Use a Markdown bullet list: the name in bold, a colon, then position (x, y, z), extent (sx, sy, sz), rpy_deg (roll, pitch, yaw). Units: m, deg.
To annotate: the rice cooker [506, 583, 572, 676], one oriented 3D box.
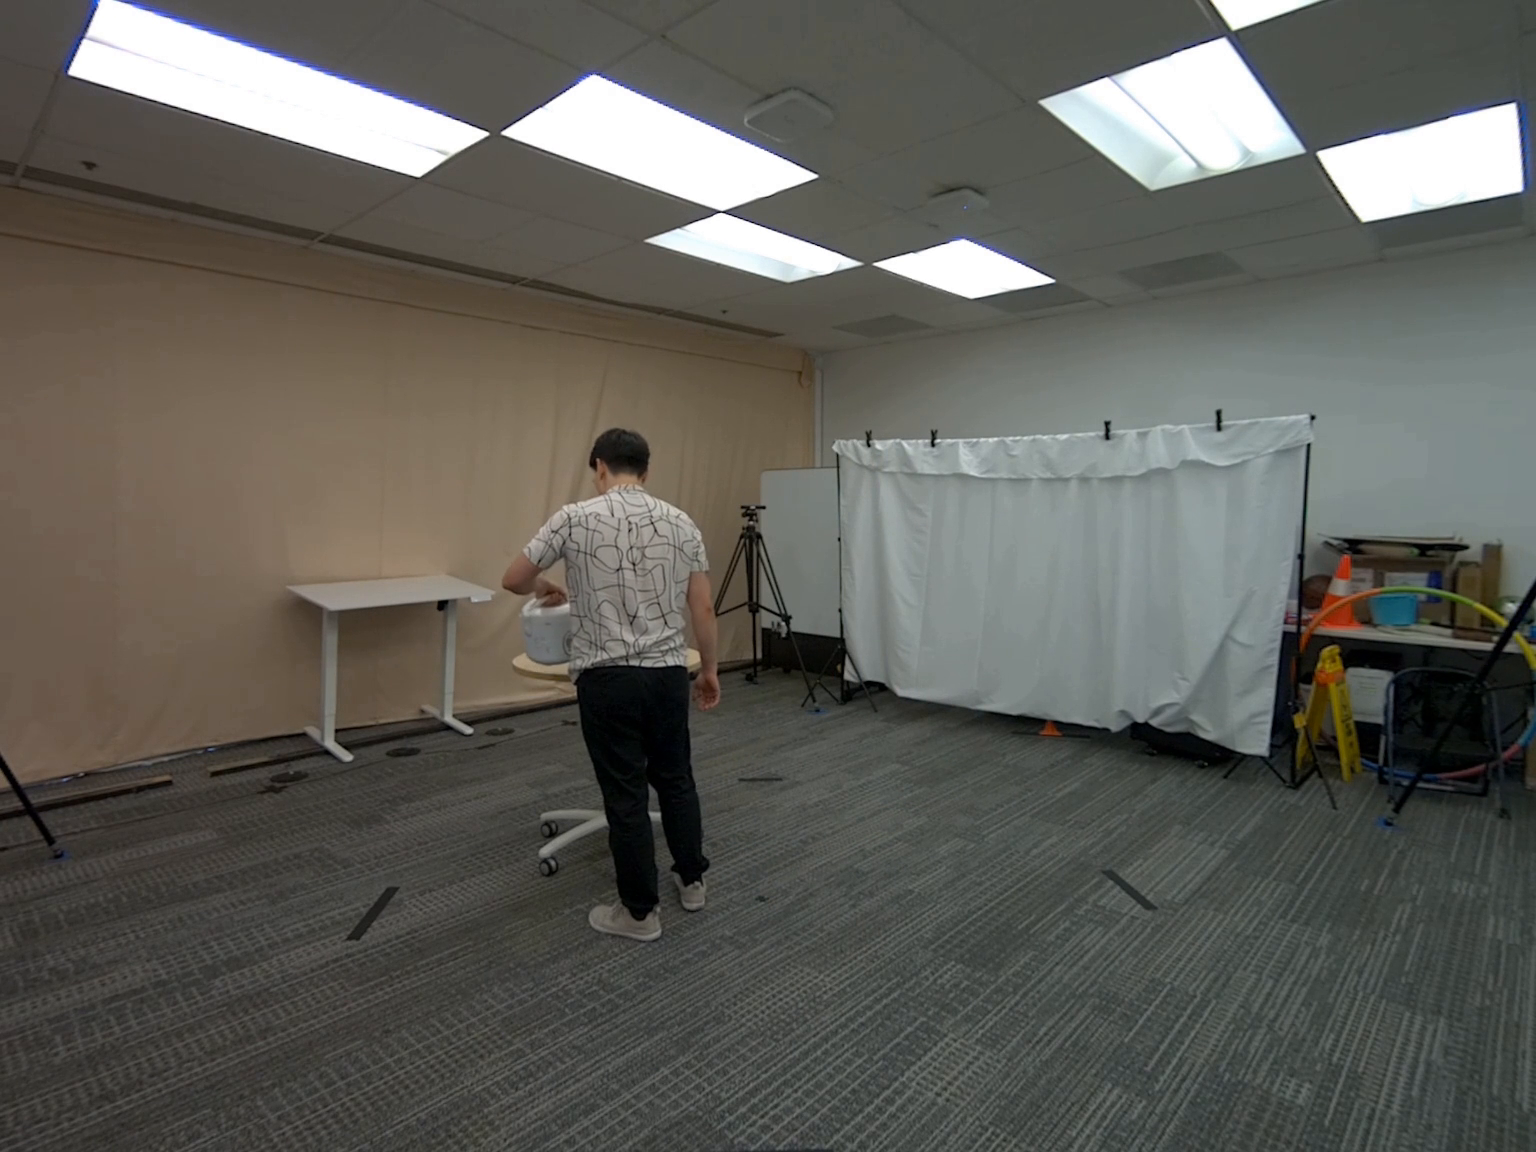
- **rice cooker**: position (-0.753, 0.178, 2.961), extent (0.215, 0.231, 0.225), rpy_deg (-15, 19, -42)
